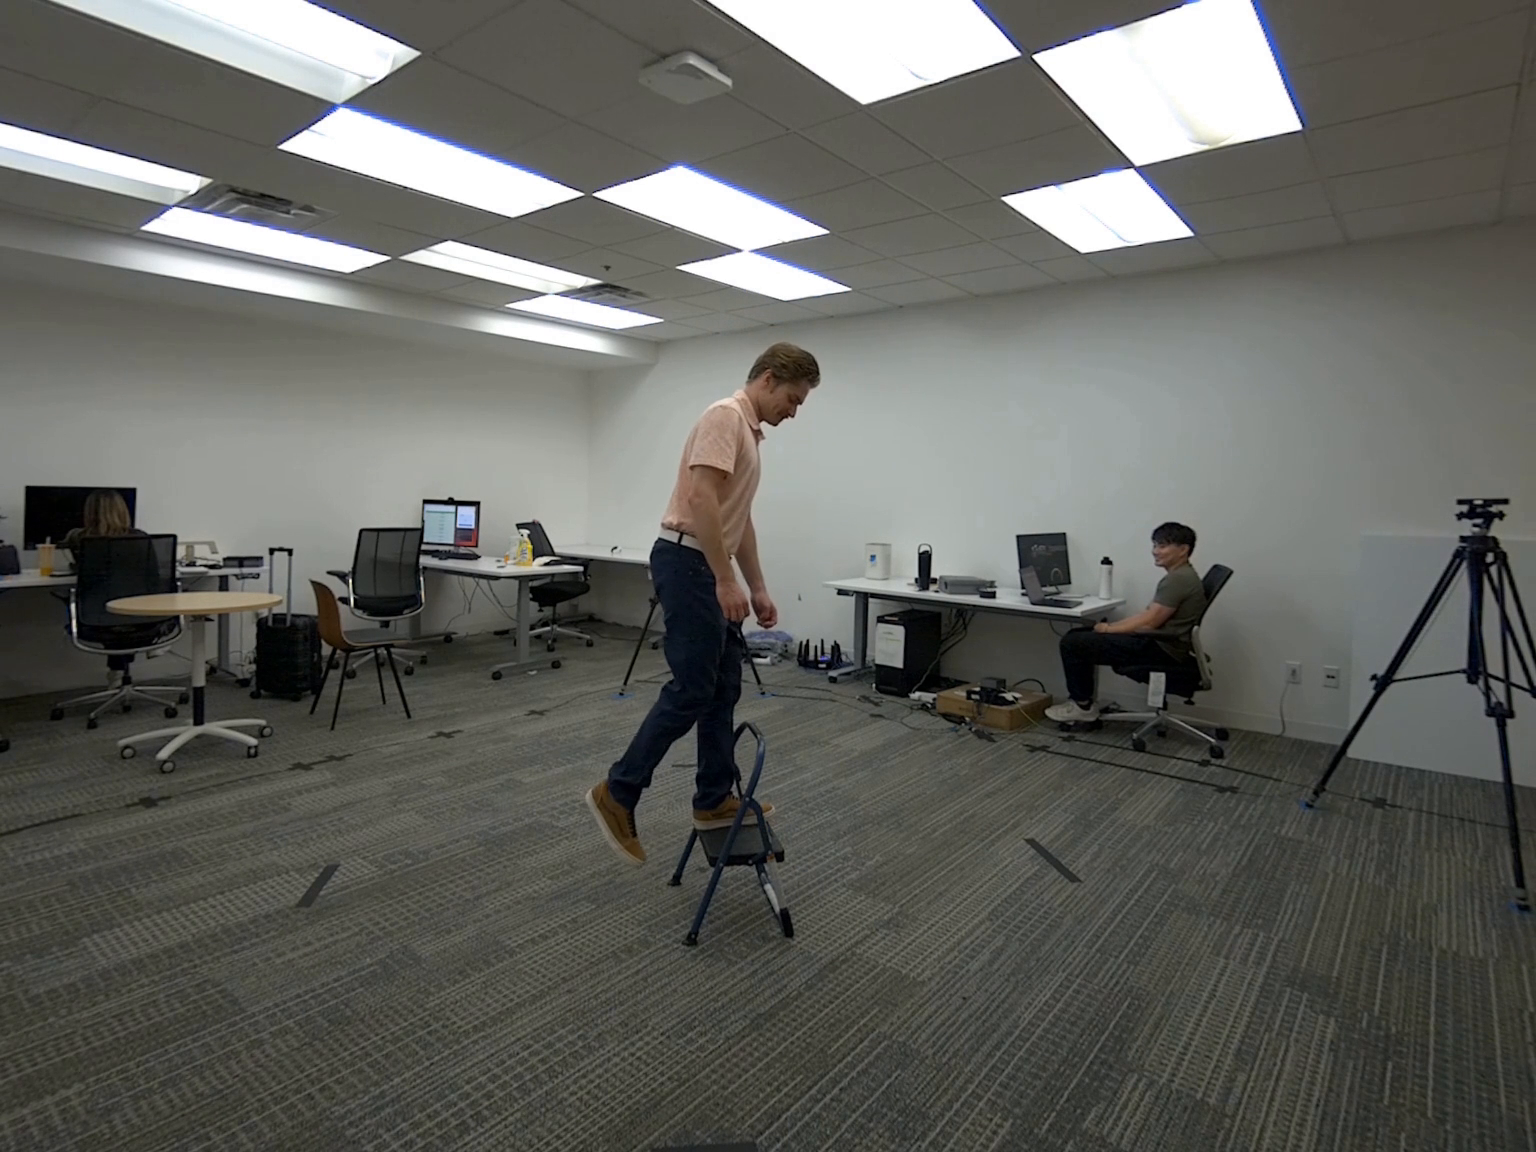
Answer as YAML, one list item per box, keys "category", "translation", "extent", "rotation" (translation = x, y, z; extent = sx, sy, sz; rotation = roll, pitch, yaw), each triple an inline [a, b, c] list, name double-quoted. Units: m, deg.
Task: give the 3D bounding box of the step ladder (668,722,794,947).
- category: "step ladder"
  translation: [-0.128, 0.803, 2.801]
  extent: [0.345, 0.604, 0.437]
  rotation: [0, 4, -12]
